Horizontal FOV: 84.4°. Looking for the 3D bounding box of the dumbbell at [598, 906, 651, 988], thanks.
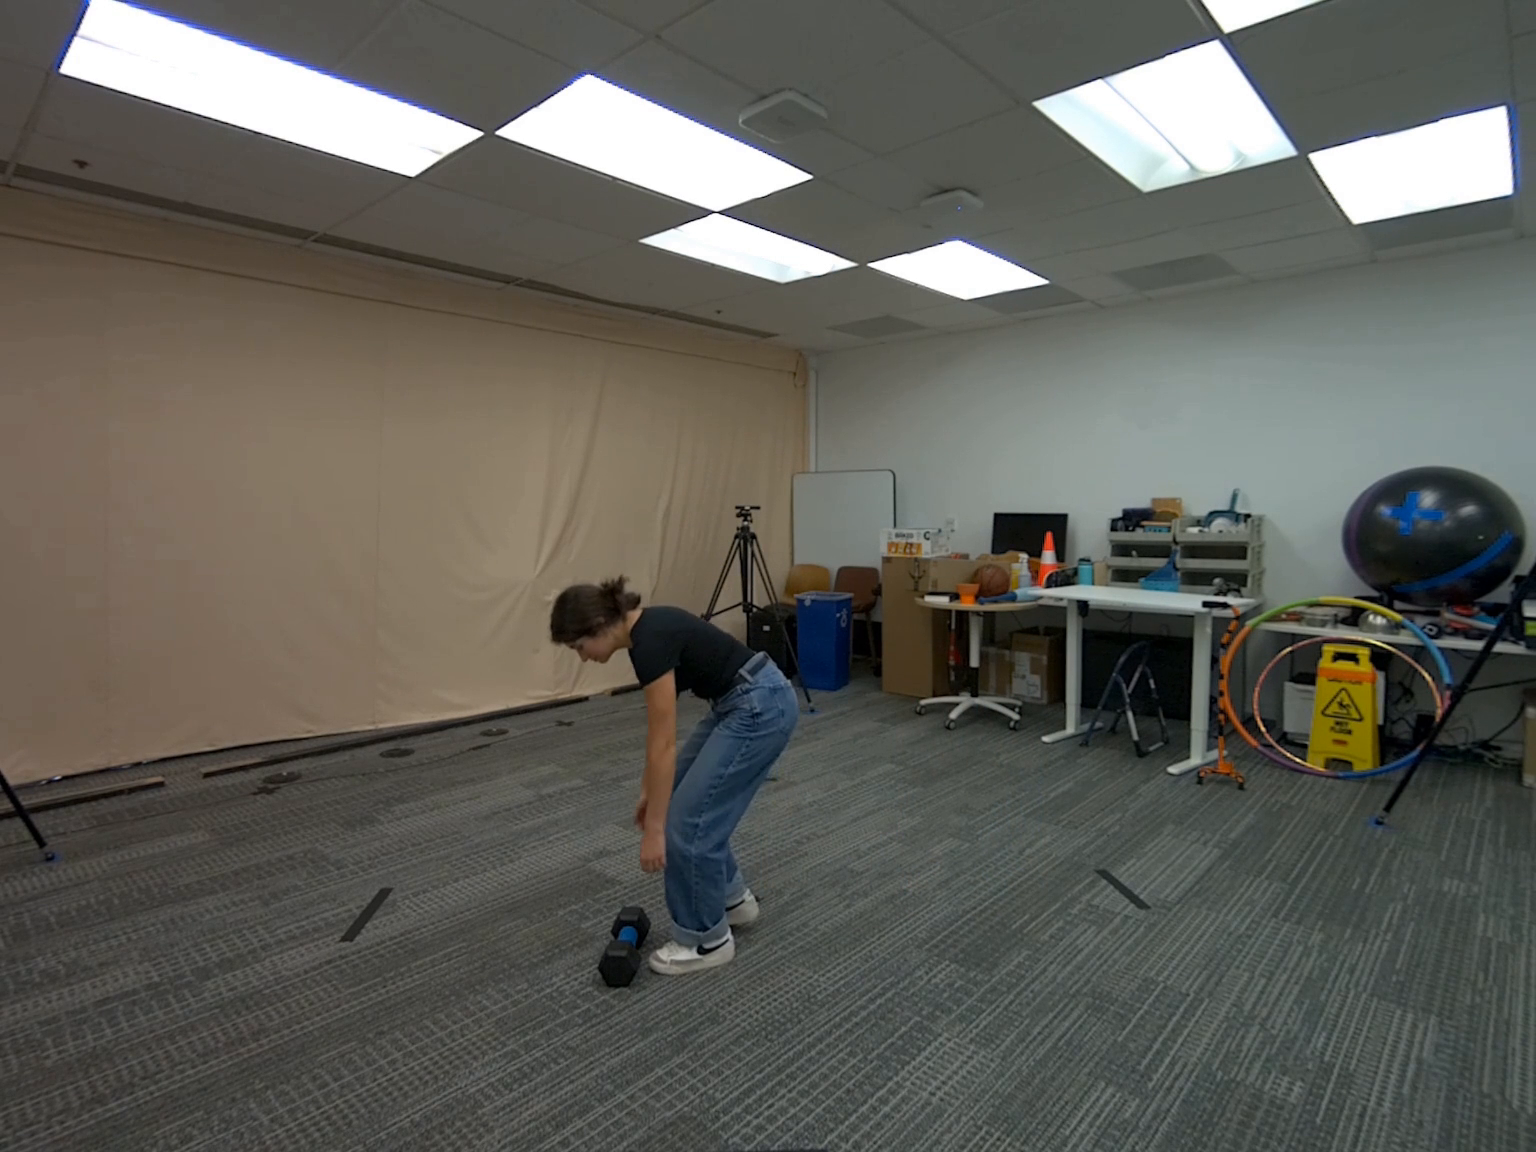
[{"bbox_3d":[-0.429,1.130,2.570,0.109,0.123,0.293,-30,3,3],"label":"dumbbell"}]
